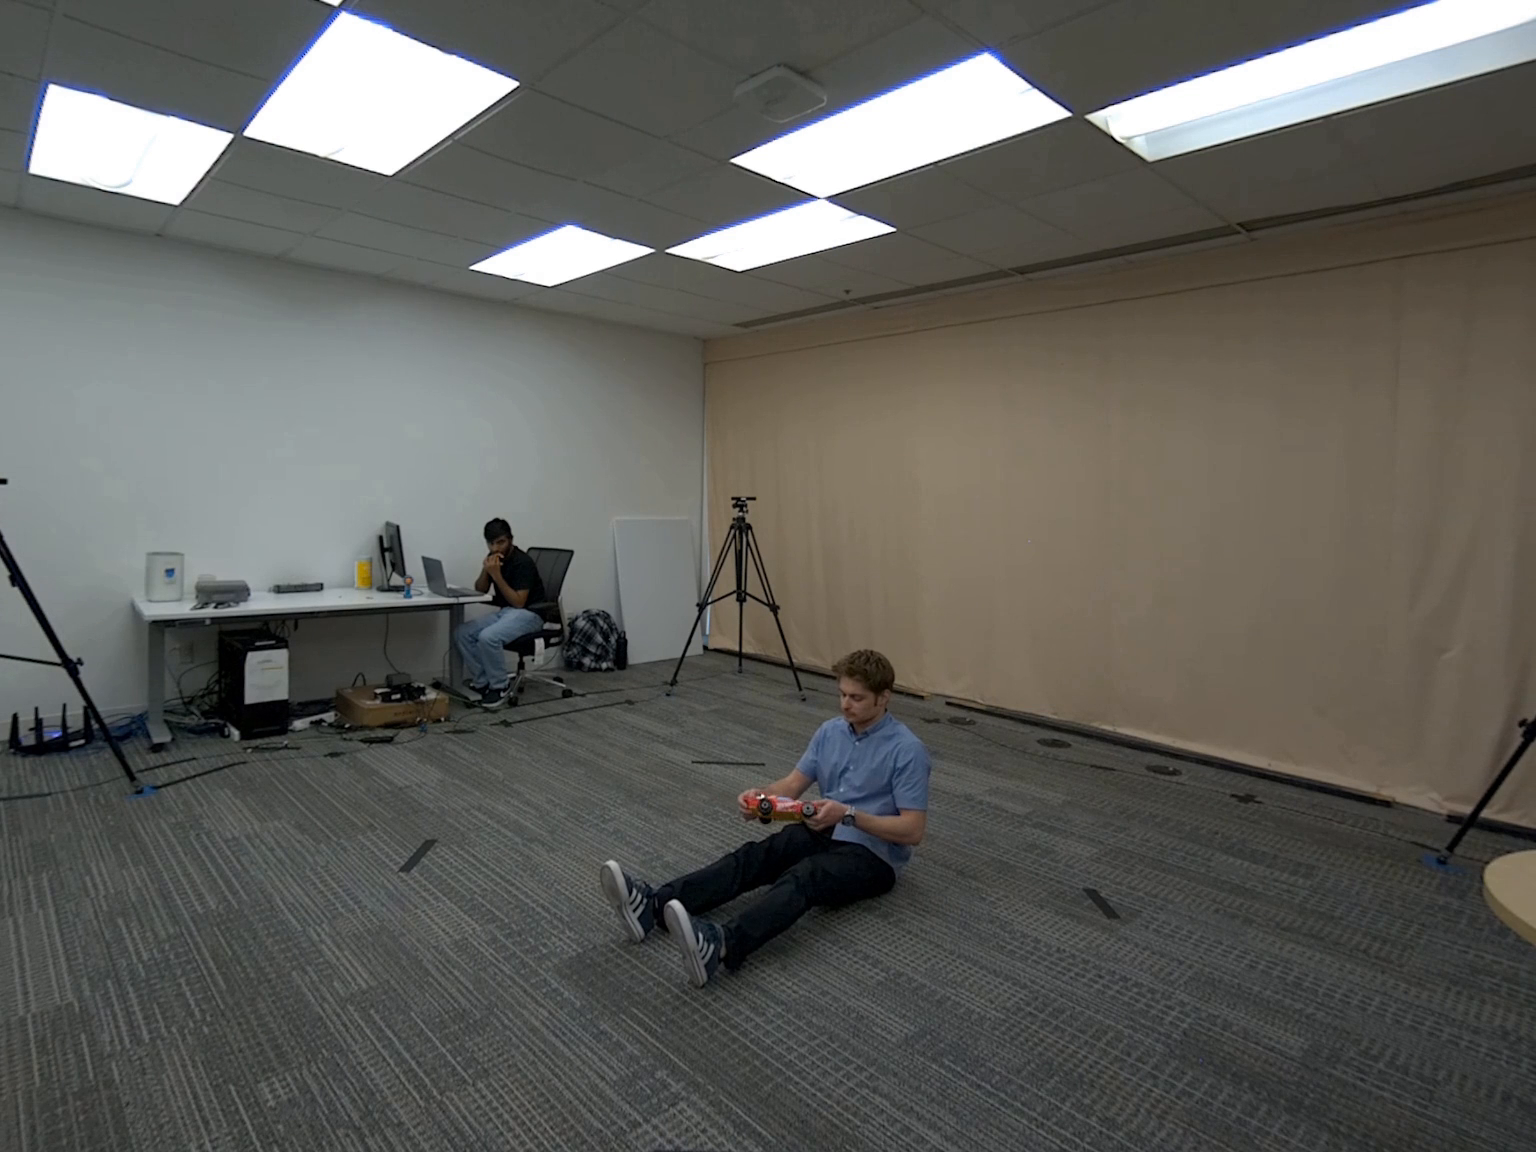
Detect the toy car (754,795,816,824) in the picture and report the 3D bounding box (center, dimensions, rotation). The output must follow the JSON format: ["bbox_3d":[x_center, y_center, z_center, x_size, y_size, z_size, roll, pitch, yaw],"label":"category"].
[{"bbox_3d":[0.041,0.811,2.886,0.256,0.084,0.127,11,-36,8],"label":"toy car"}]
